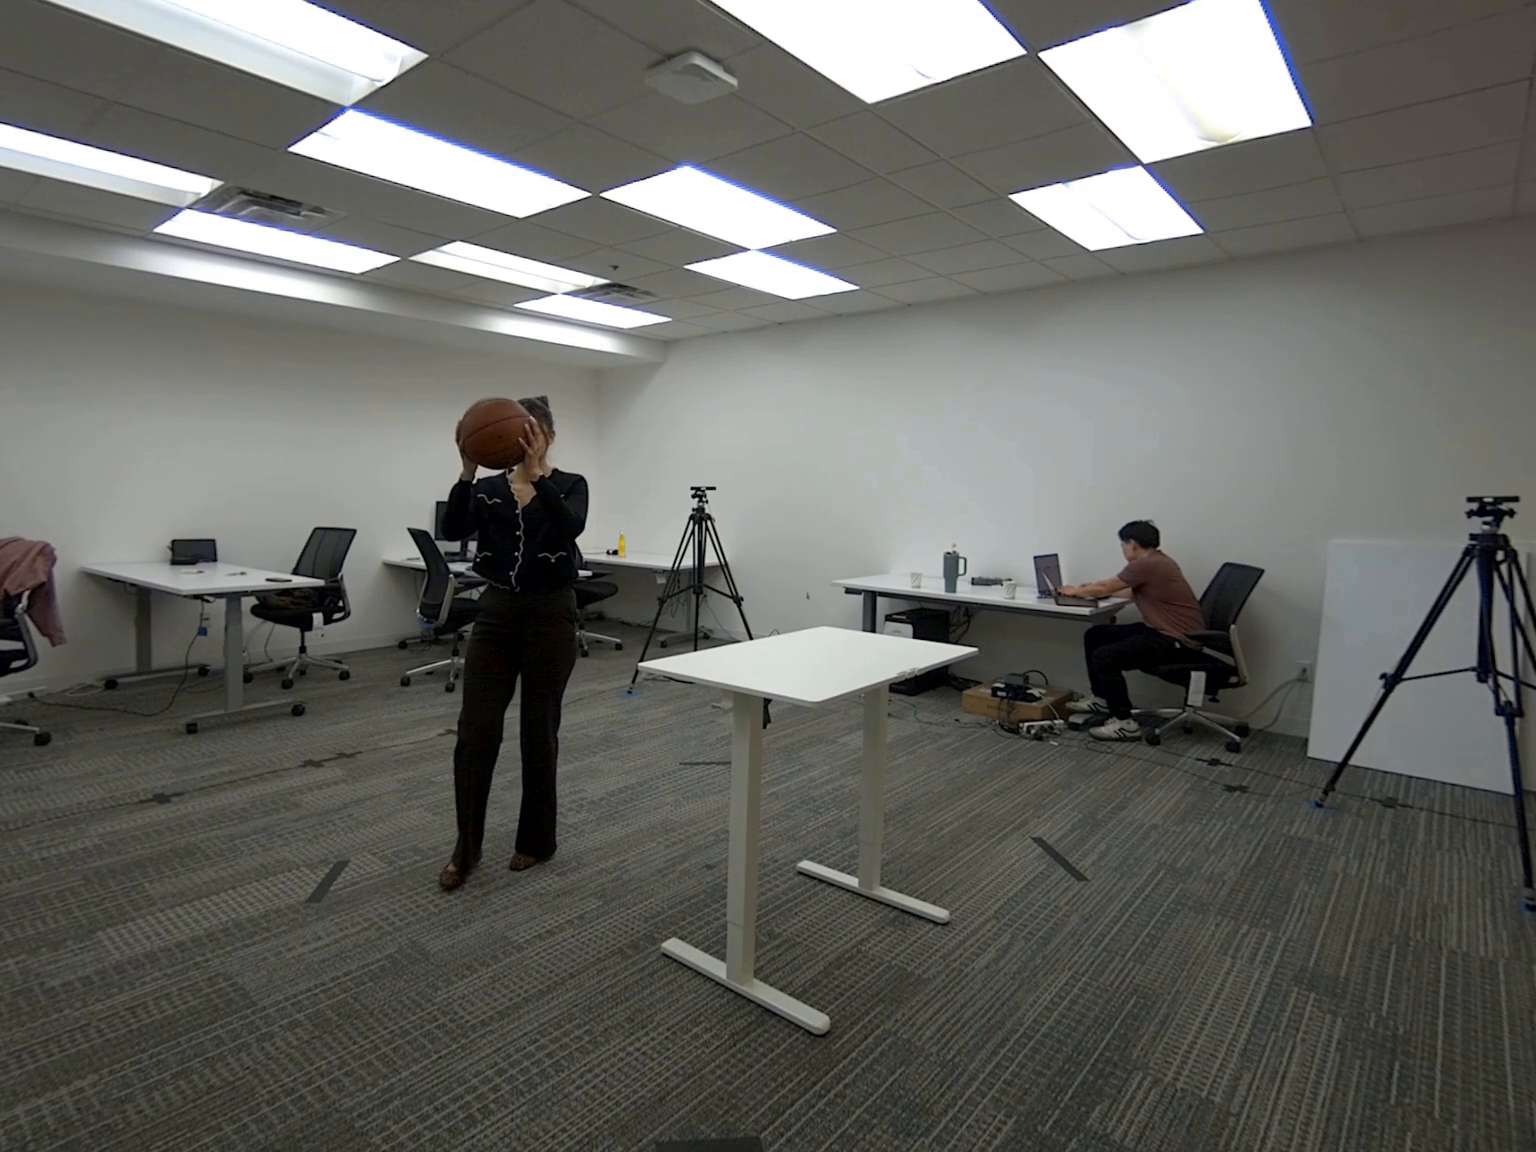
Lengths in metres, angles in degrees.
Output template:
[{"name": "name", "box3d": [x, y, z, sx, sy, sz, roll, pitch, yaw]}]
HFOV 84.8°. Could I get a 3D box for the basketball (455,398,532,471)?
[{"name": "basketball", "box3d": [-0.888, -0.466, 2.751, 0.235, 0.235, 0.237, 1, 4, -2]}]
